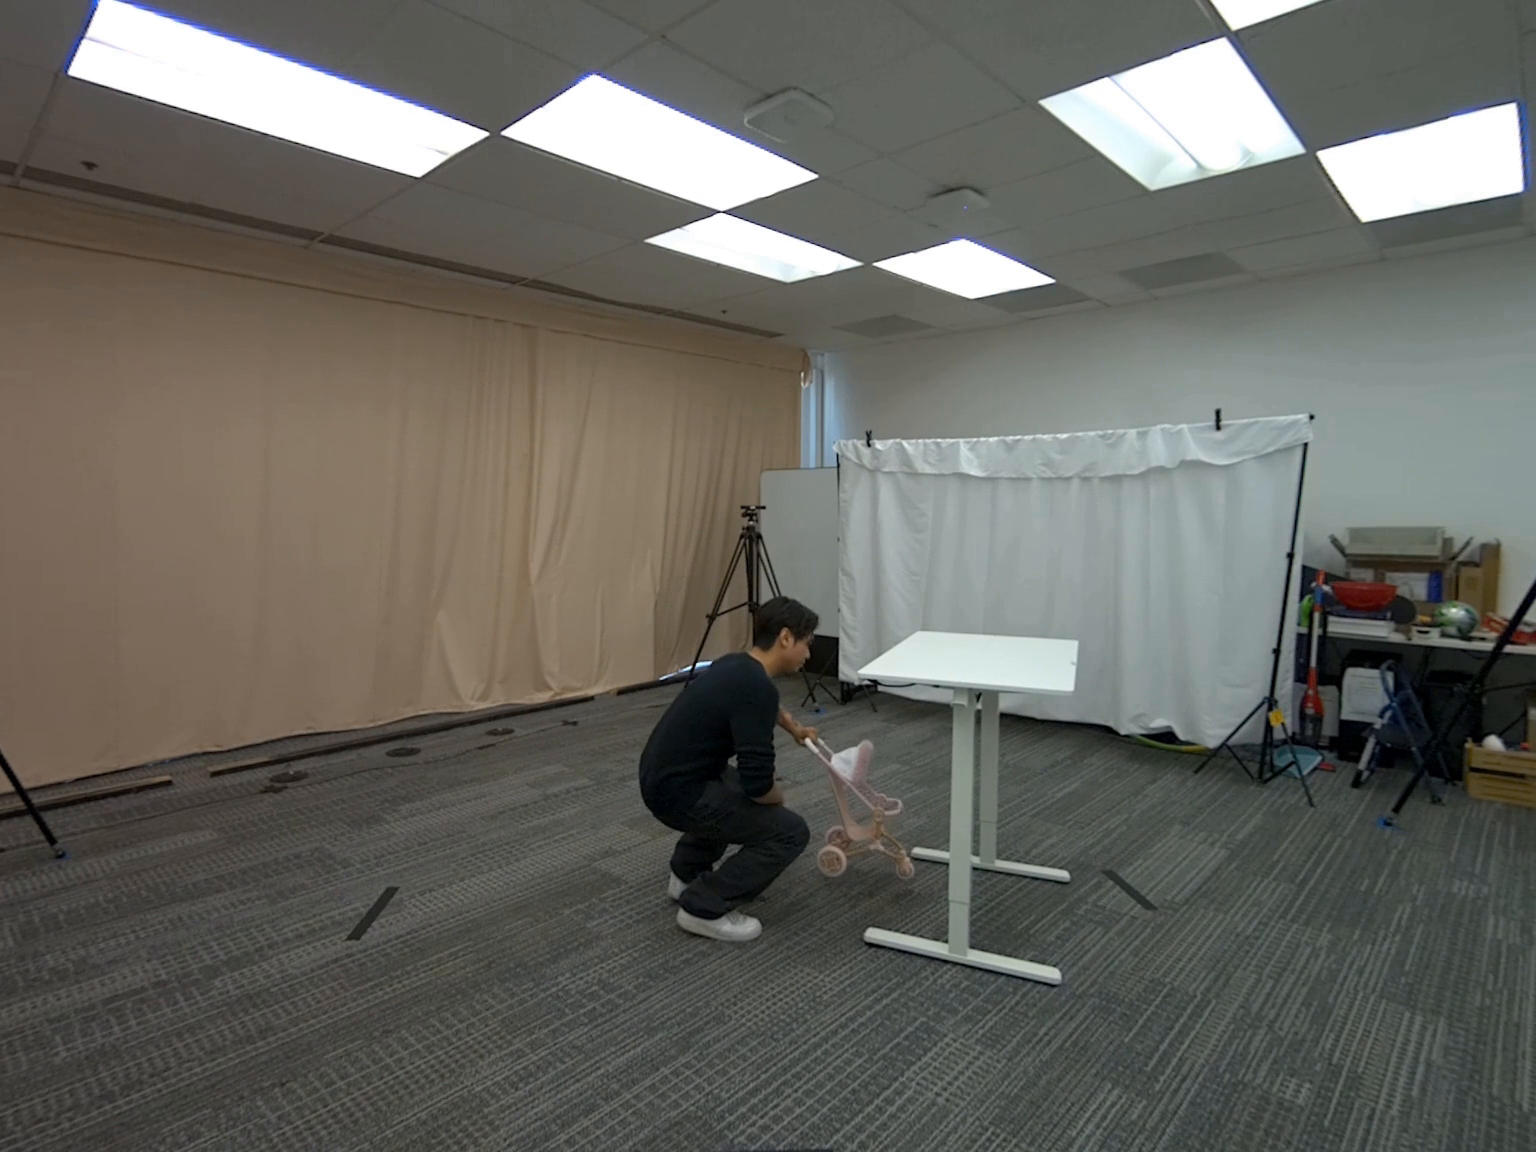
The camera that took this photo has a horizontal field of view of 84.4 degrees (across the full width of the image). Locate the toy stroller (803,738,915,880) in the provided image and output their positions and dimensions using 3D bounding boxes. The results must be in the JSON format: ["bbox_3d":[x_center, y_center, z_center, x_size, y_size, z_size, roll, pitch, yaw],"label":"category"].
[{"bbox_3d":[0.339,0.847,3.094,0.347,0.536,0.276,-8,-4,16],"label":"toy stroller"}]
